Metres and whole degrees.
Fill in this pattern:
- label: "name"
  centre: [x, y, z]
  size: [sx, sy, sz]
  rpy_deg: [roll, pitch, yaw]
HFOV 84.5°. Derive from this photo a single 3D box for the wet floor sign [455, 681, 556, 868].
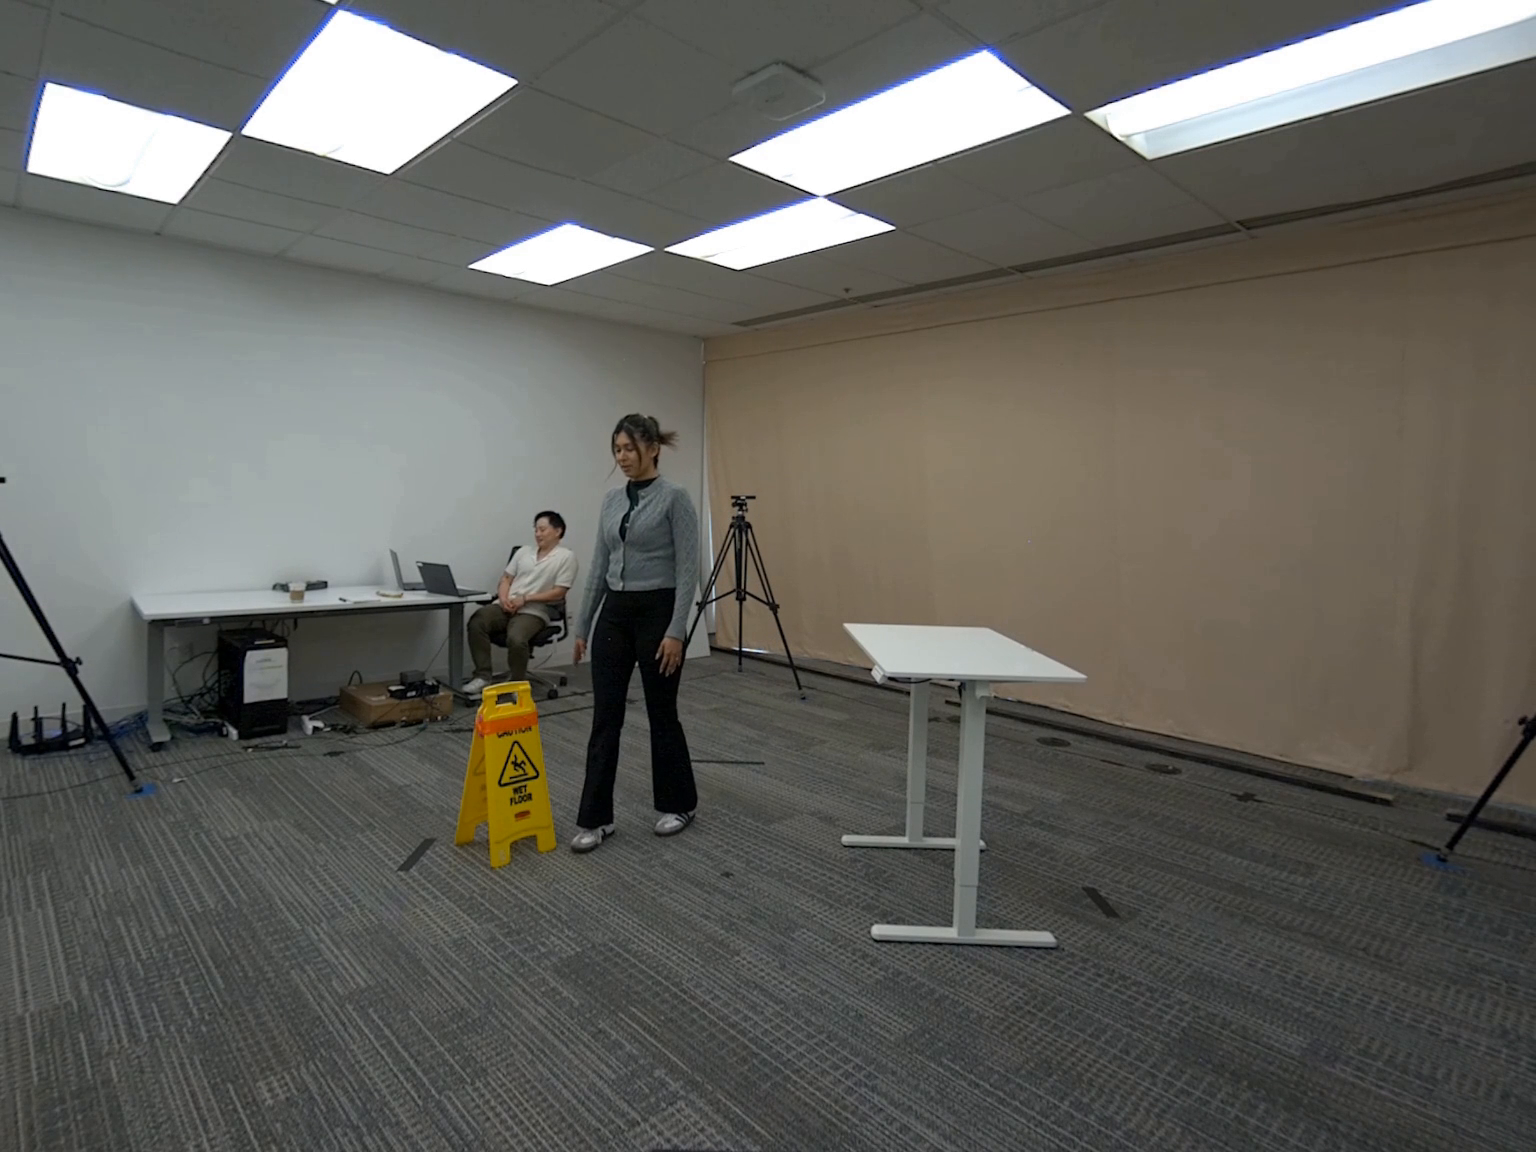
- label: "wet floor sign"
  centre: [-1.035, 0.745, 3.290]
  size: [0.297, 0.645, 0.276]
  rpy_deg: [4, 3, 43]
